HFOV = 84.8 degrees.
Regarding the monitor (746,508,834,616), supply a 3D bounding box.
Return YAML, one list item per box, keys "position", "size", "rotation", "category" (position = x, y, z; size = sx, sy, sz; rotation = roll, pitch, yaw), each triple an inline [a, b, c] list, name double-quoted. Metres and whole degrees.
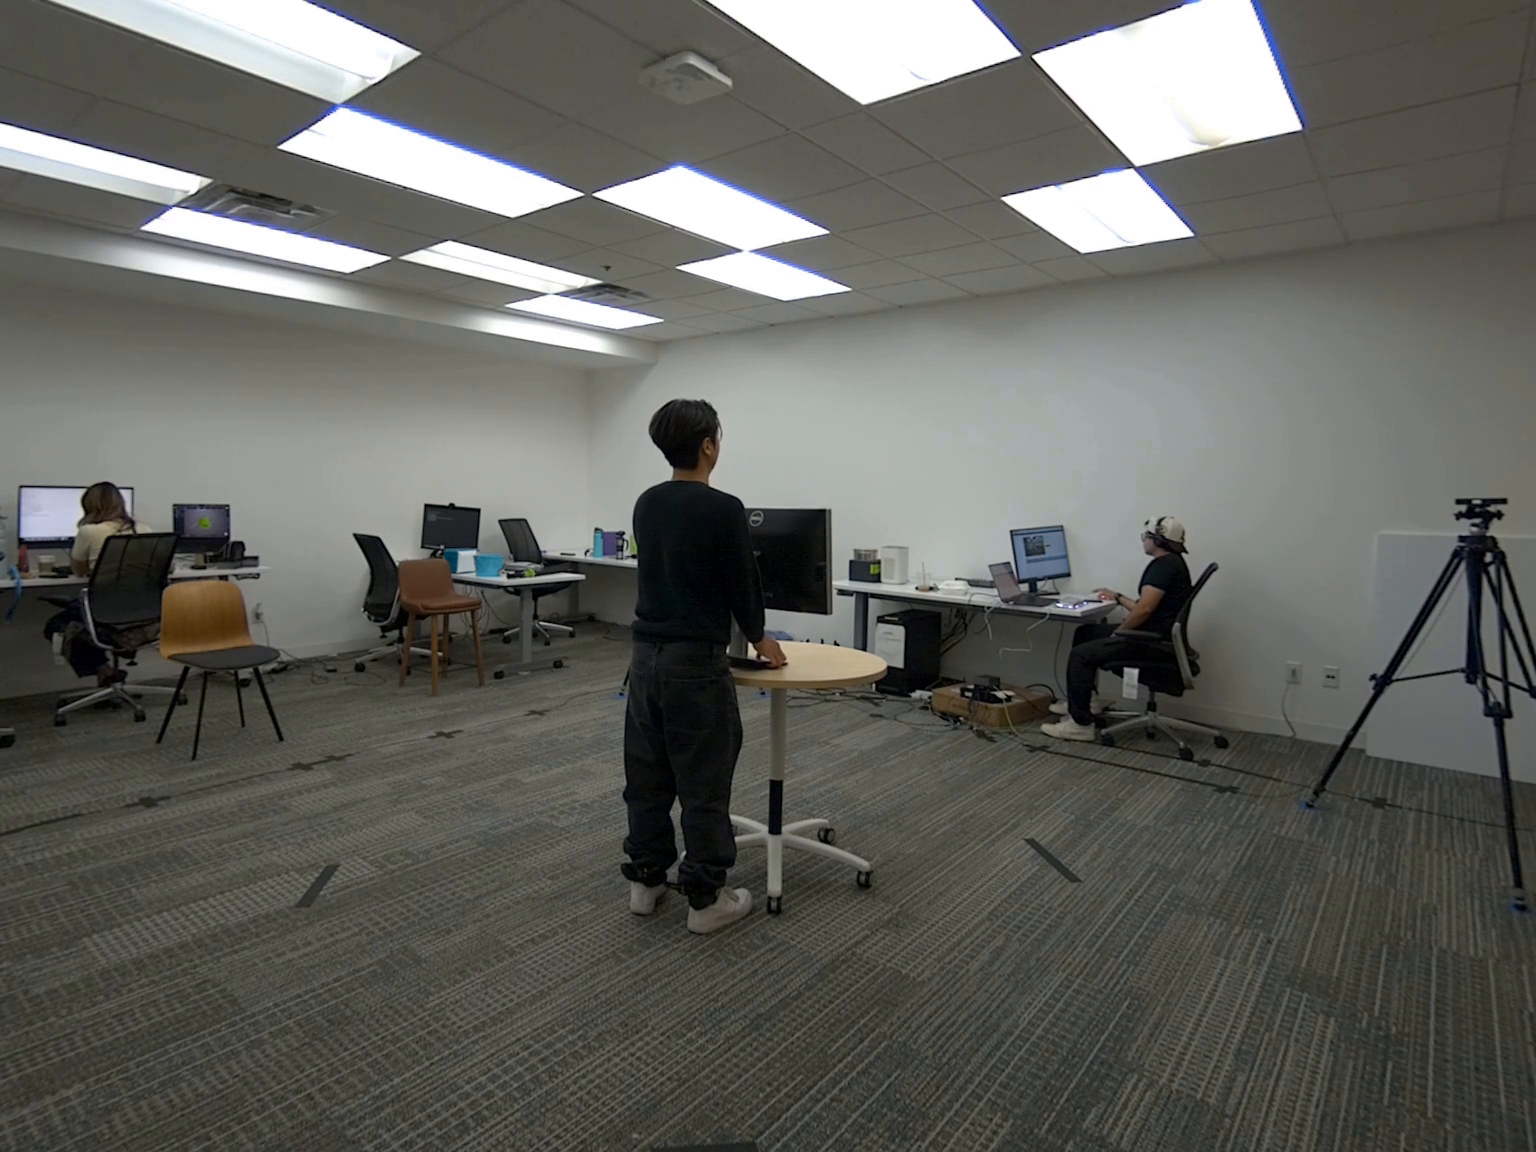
- position: [-0.054, 0.022, 2.987]
  size: [0.556, 0.525, 0.180]
  rotation: [4, -5, 36]
  category: "monitor"
